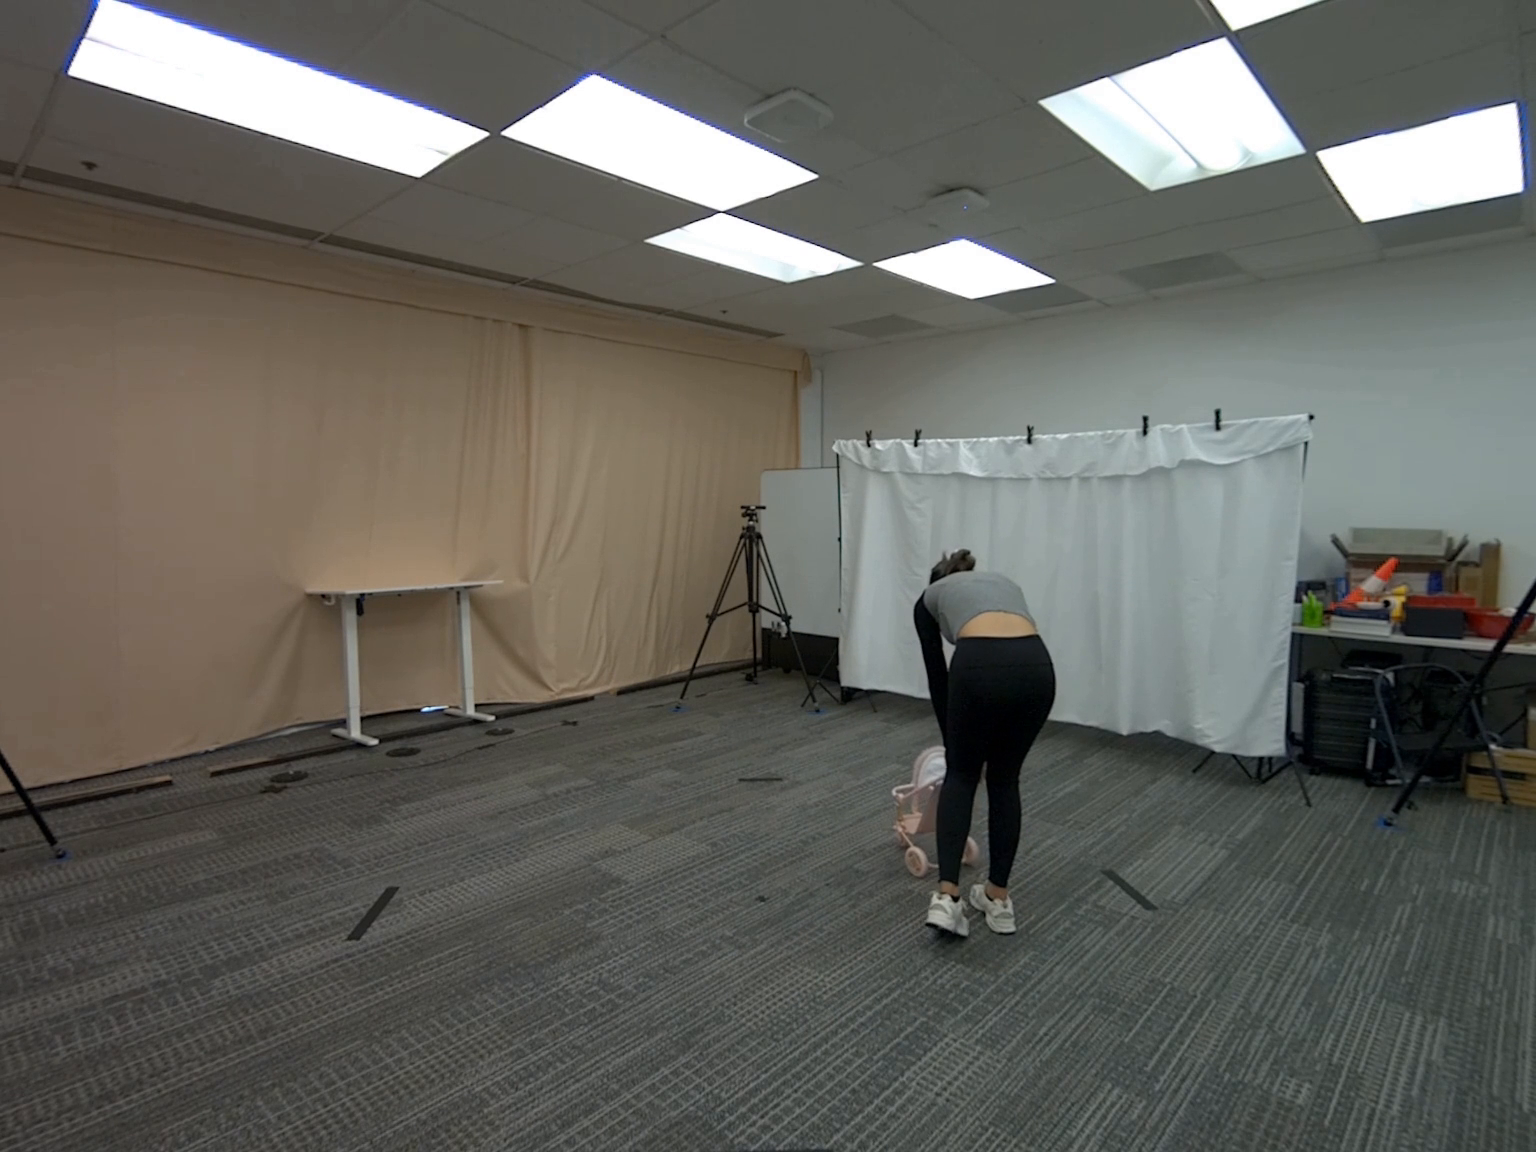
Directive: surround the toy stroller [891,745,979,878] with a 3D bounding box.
[{"bbox_3d":[0.641,0.891,3.263,0.275,0.530,0.352,-1,18,-23],"label":"toy stroller"}]
